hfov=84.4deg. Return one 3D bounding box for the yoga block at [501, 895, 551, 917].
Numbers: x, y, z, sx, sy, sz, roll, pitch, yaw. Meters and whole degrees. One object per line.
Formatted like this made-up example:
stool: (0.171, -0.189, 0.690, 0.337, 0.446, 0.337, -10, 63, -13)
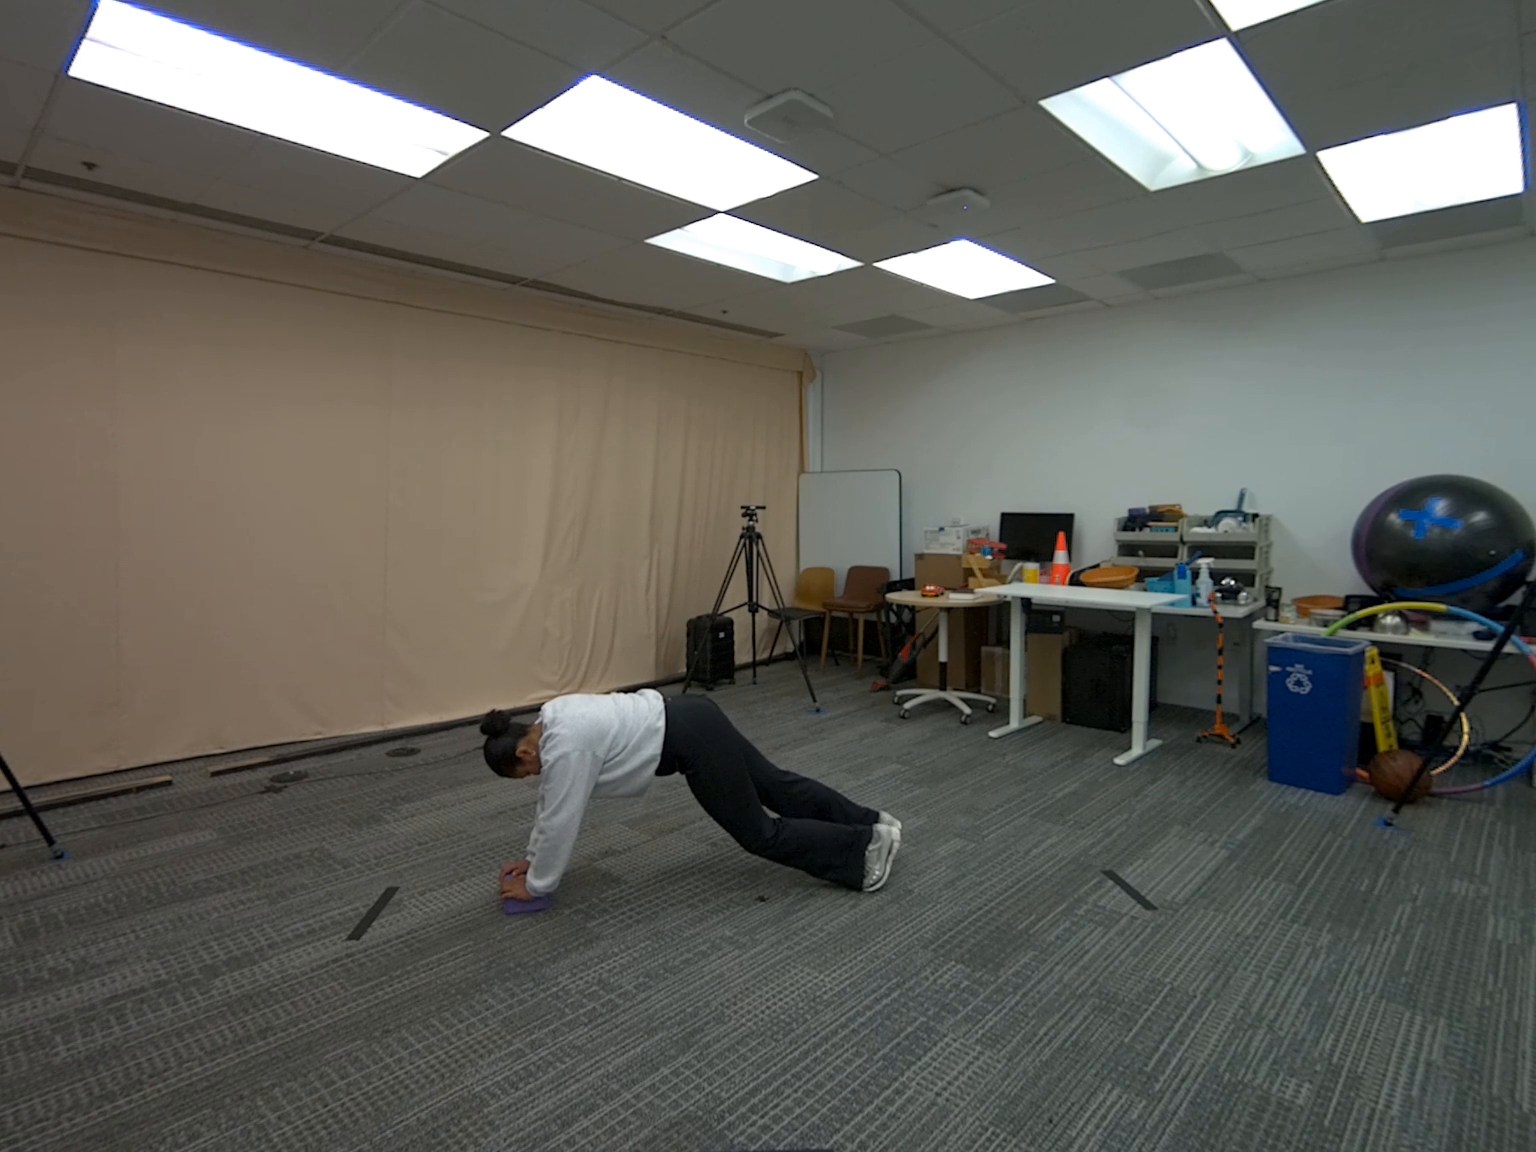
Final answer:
yoga block: (-0.868, 1.122, 2.999, 0.147, 0.076, 0.233, -1, 5, -16)
